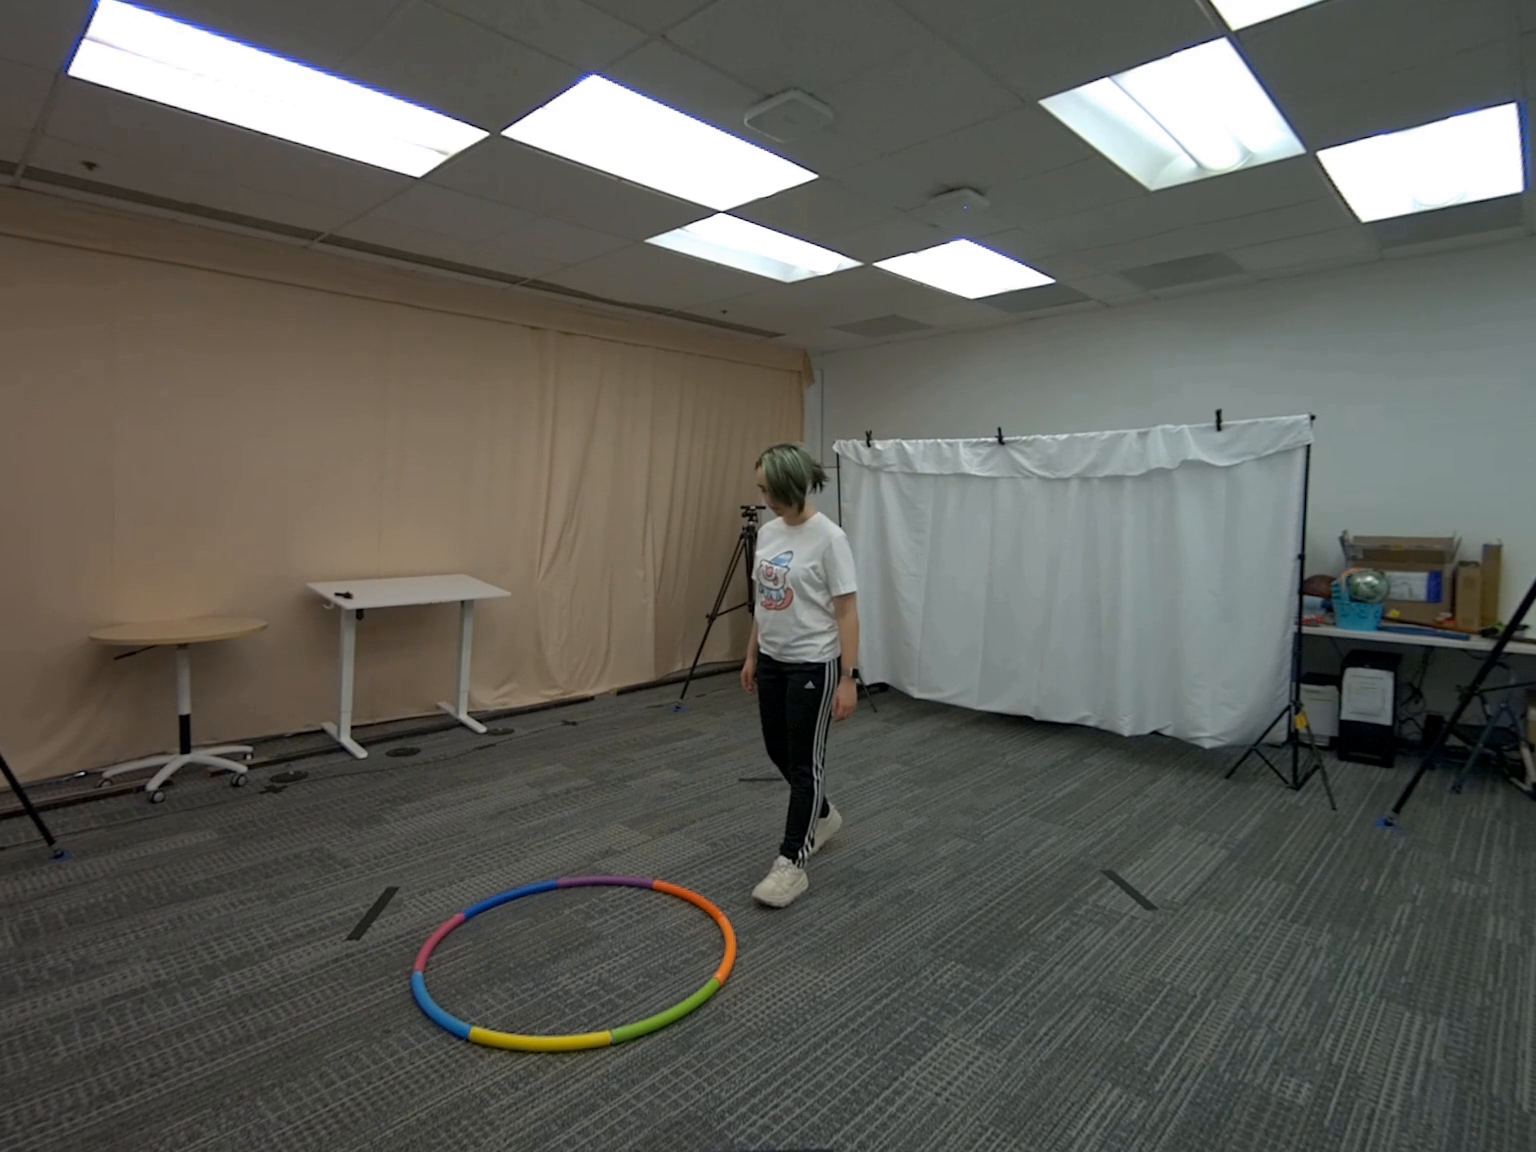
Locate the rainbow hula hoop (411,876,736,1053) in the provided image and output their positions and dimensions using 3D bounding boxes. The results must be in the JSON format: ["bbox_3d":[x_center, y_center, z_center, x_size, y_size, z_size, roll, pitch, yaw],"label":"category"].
[{"bbox_3d":[-0.584,1.146,2.632,0.978,0.035,0.982,0,4,-2],"label":"rainbow hula hoop"}]
